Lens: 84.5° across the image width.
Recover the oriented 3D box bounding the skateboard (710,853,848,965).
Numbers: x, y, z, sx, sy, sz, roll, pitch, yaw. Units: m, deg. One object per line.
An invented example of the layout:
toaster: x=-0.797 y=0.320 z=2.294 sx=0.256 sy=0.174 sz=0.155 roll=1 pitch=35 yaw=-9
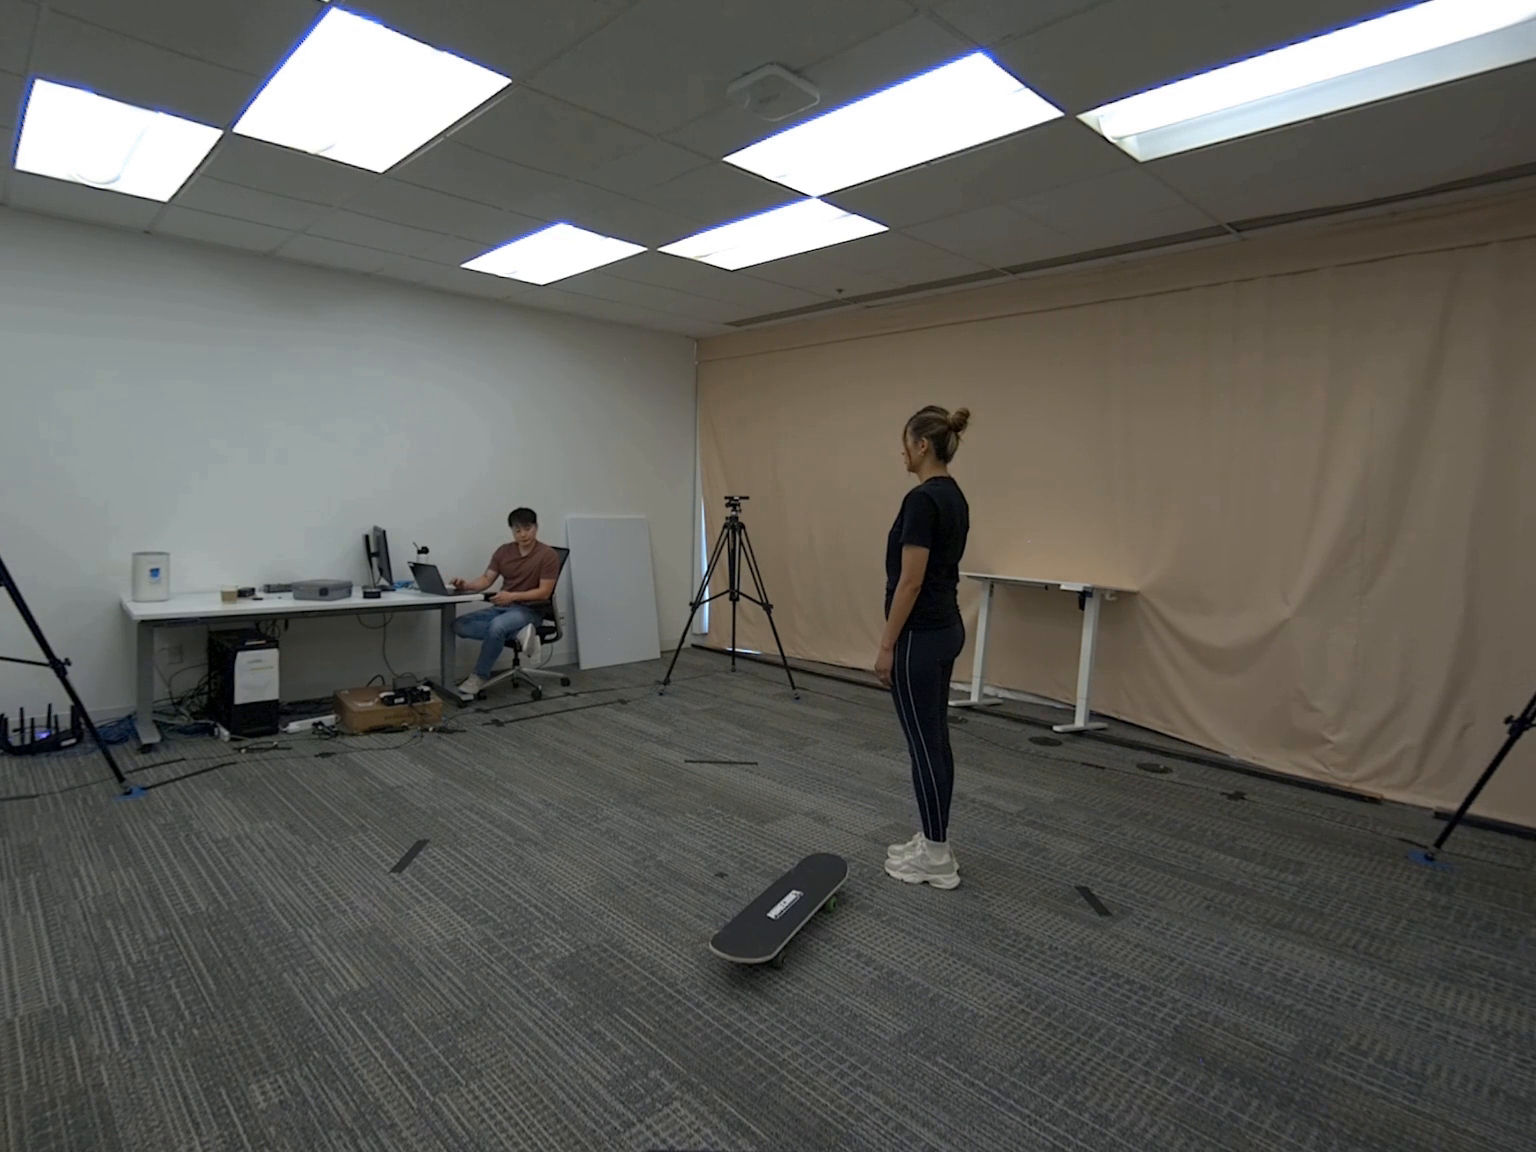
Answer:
skateboard: x=0.050 y=1.089 z=2.701 sx=0.197 sy=0.110 sz=0.772 roll=4 pitch=6 yaw=26
